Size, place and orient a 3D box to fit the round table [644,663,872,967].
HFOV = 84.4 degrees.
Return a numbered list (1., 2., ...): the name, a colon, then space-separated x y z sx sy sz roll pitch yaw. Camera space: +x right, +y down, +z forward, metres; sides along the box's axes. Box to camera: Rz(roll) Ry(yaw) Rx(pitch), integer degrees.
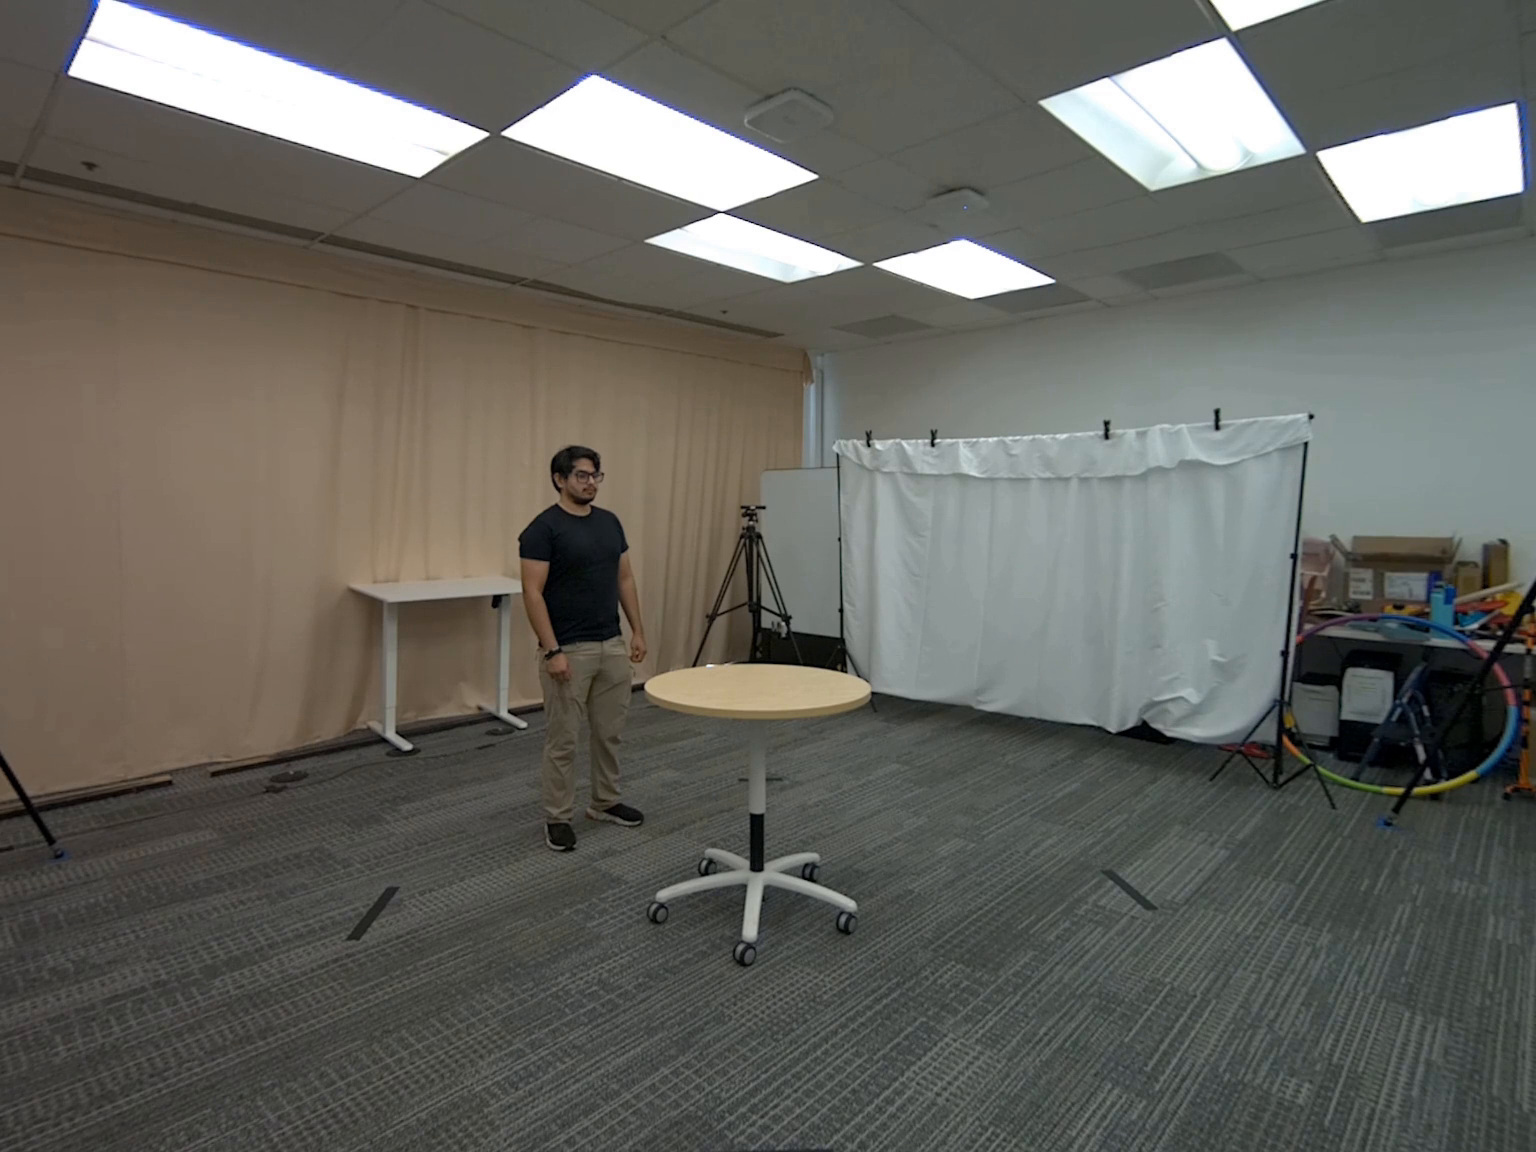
1. round table: -0.022 0.759 2.889 0.784 0.785 0.788 0 4 -2
